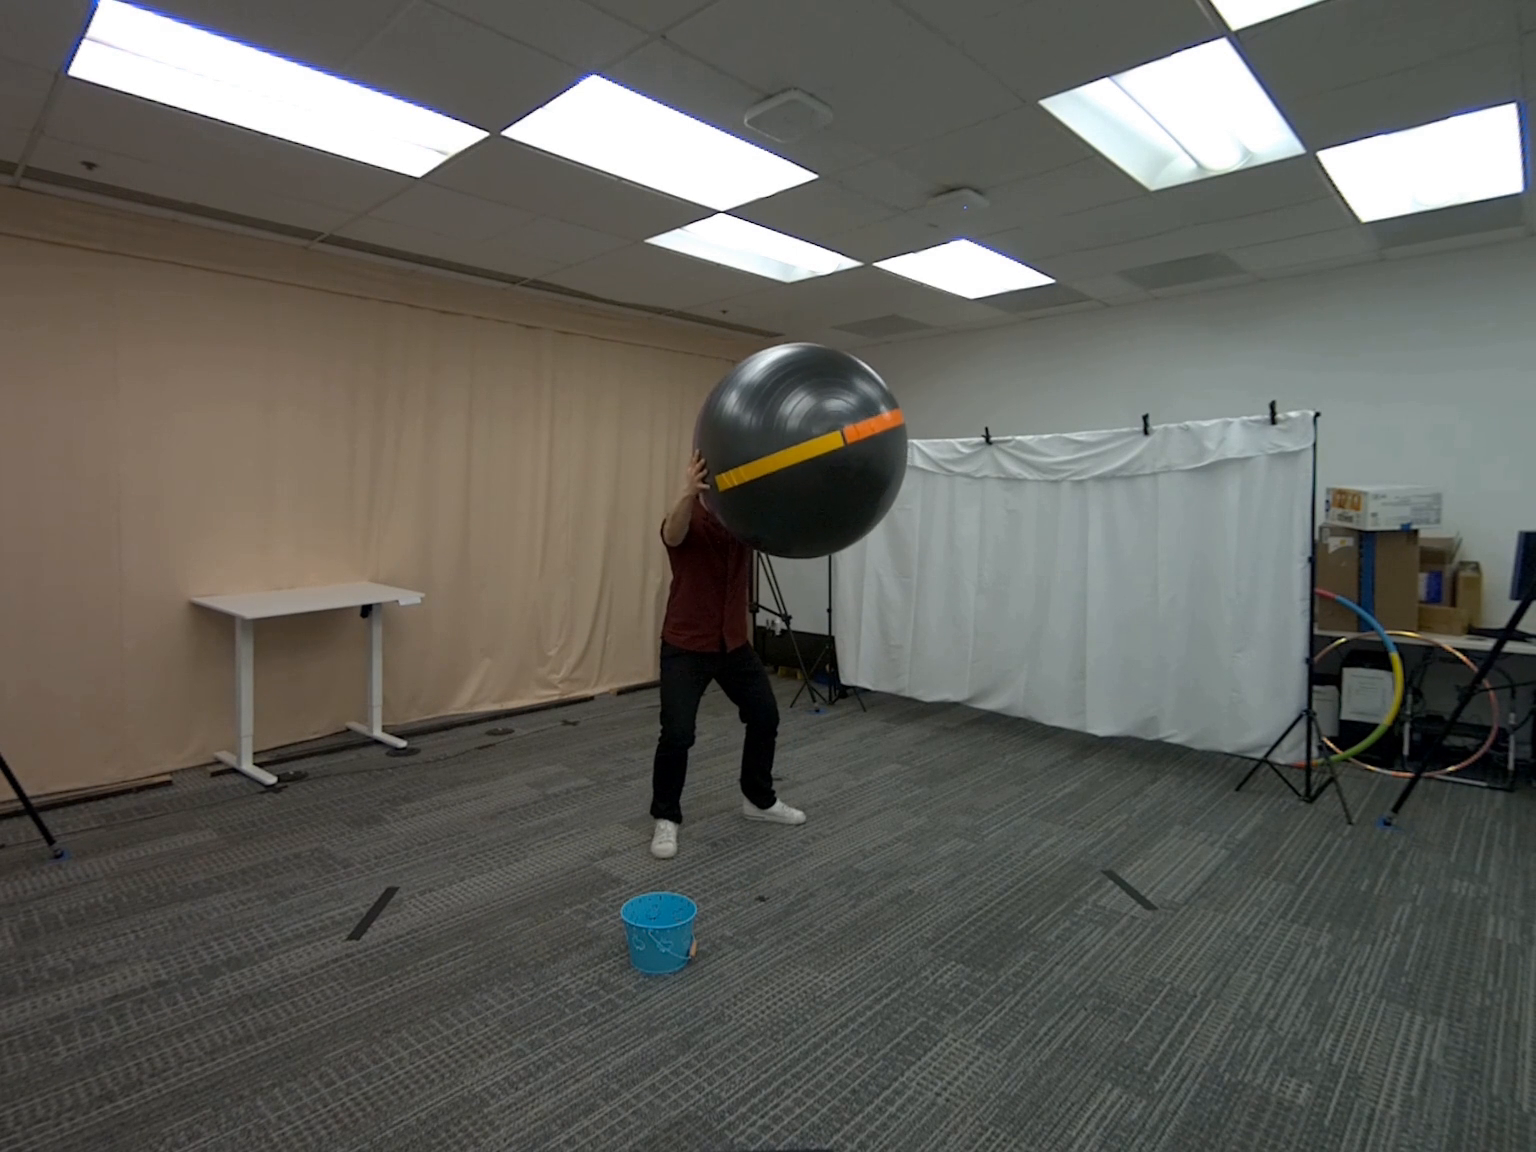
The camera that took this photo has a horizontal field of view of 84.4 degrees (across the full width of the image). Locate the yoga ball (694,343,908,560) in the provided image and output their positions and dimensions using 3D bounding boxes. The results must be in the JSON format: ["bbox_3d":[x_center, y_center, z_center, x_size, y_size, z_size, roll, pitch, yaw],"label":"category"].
[{"bbox_3d":[0.113,-0.424,2.994,0.757,0.756,0.760,0,4,-2],"label":"yoga ball"}]
